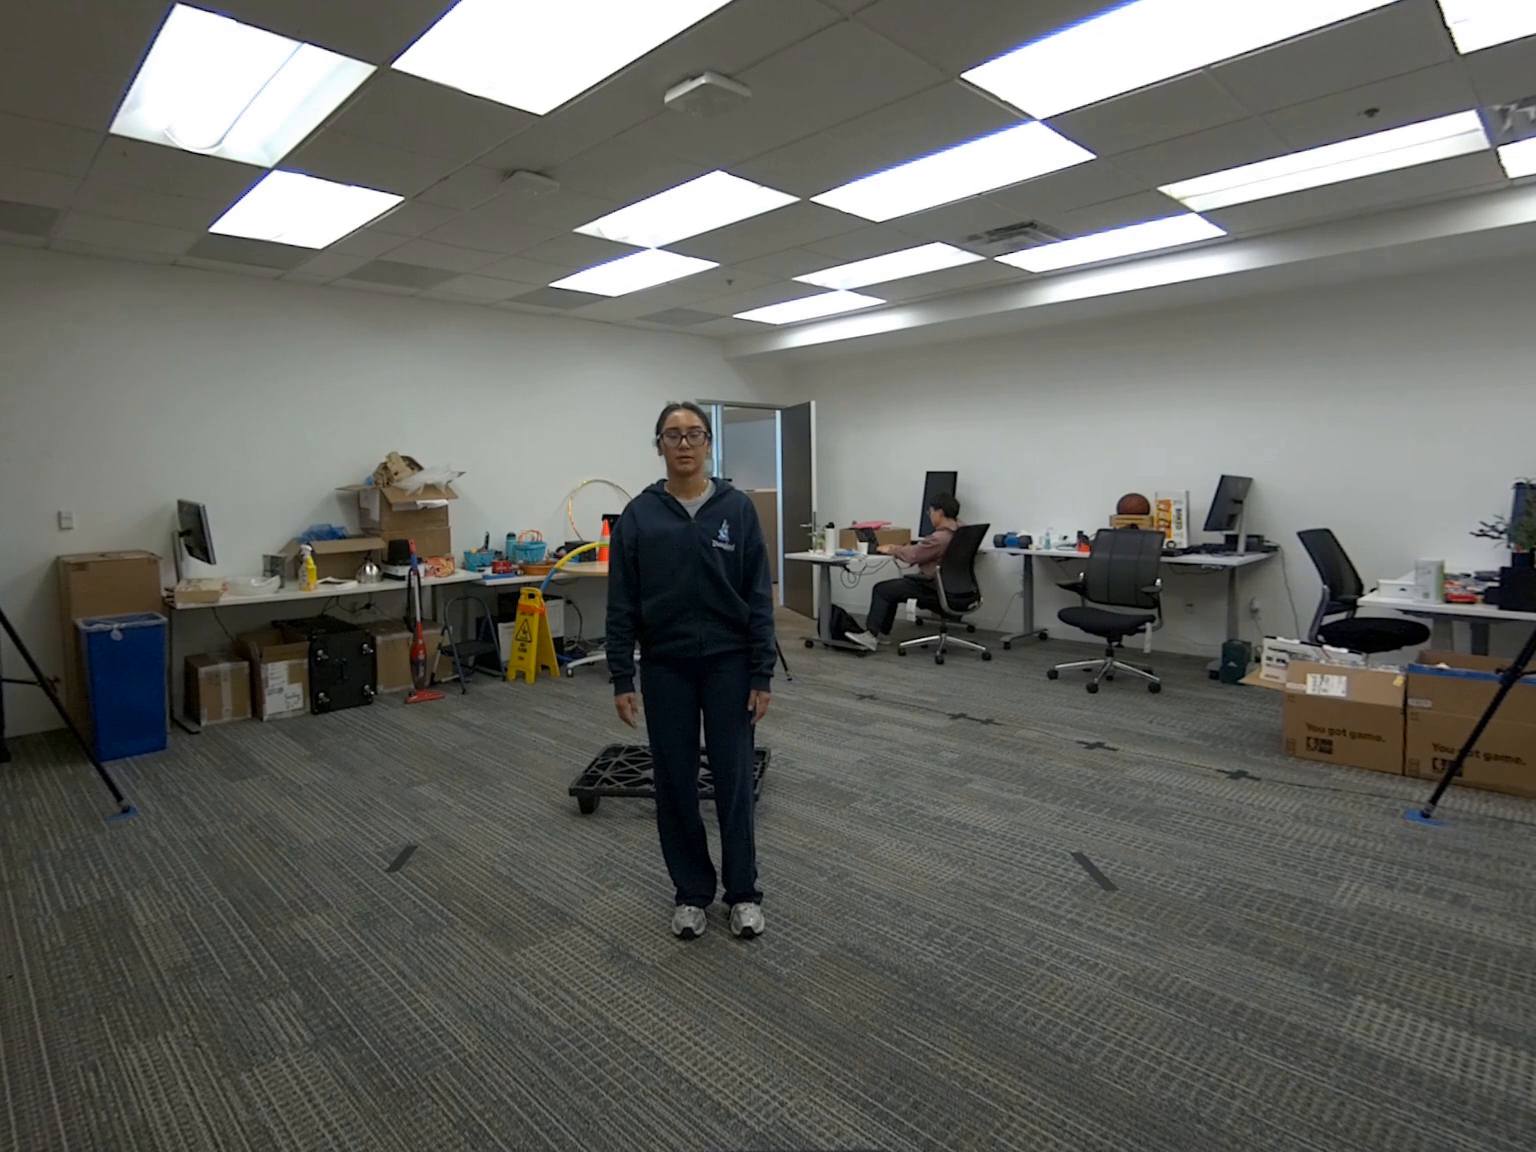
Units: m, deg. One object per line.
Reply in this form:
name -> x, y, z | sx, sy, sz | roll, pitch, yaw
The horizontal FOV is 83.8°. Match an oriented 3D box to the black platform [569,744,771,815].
black platform -> -0.407, 0.906, 3.784 | 0.812, 0.143, 0.603 | -1, 5, 7
